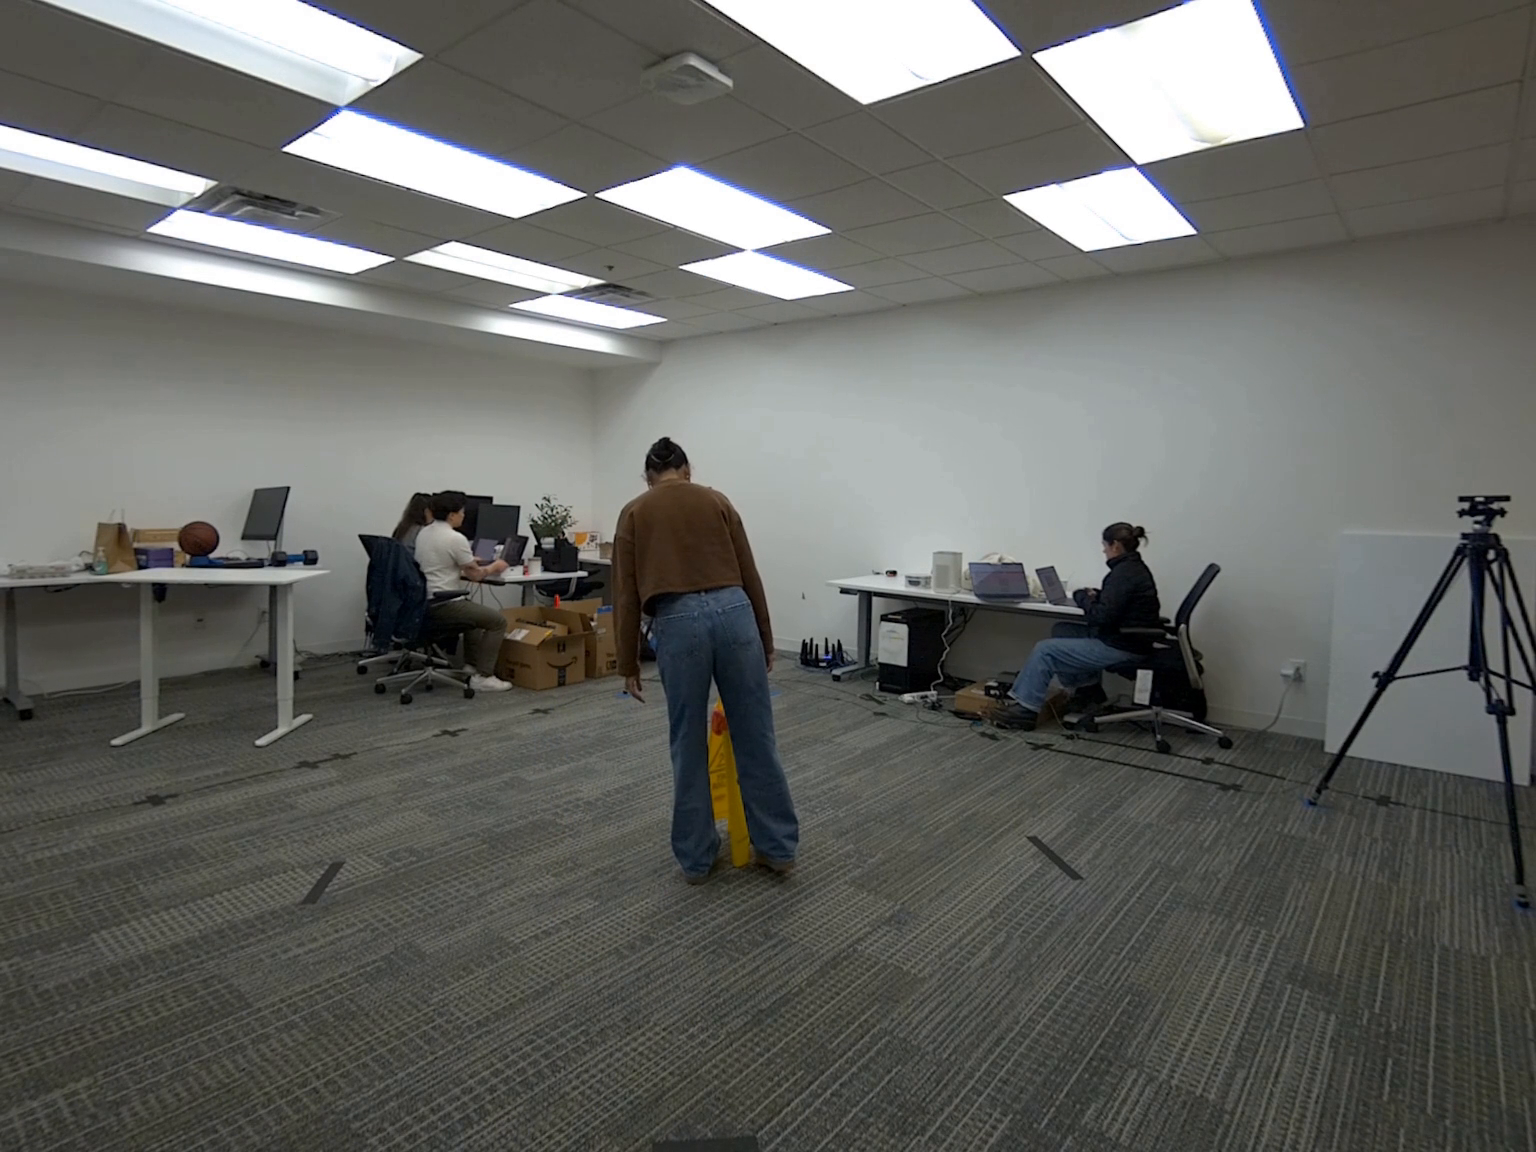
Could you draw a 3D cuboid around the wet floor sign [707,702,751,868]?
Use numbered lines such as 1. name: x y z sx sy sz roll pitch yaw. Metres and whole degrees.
1. wet floor sign: -0.118 0.726 3.283 0.274 0.644 0.299 -2 5 -44
